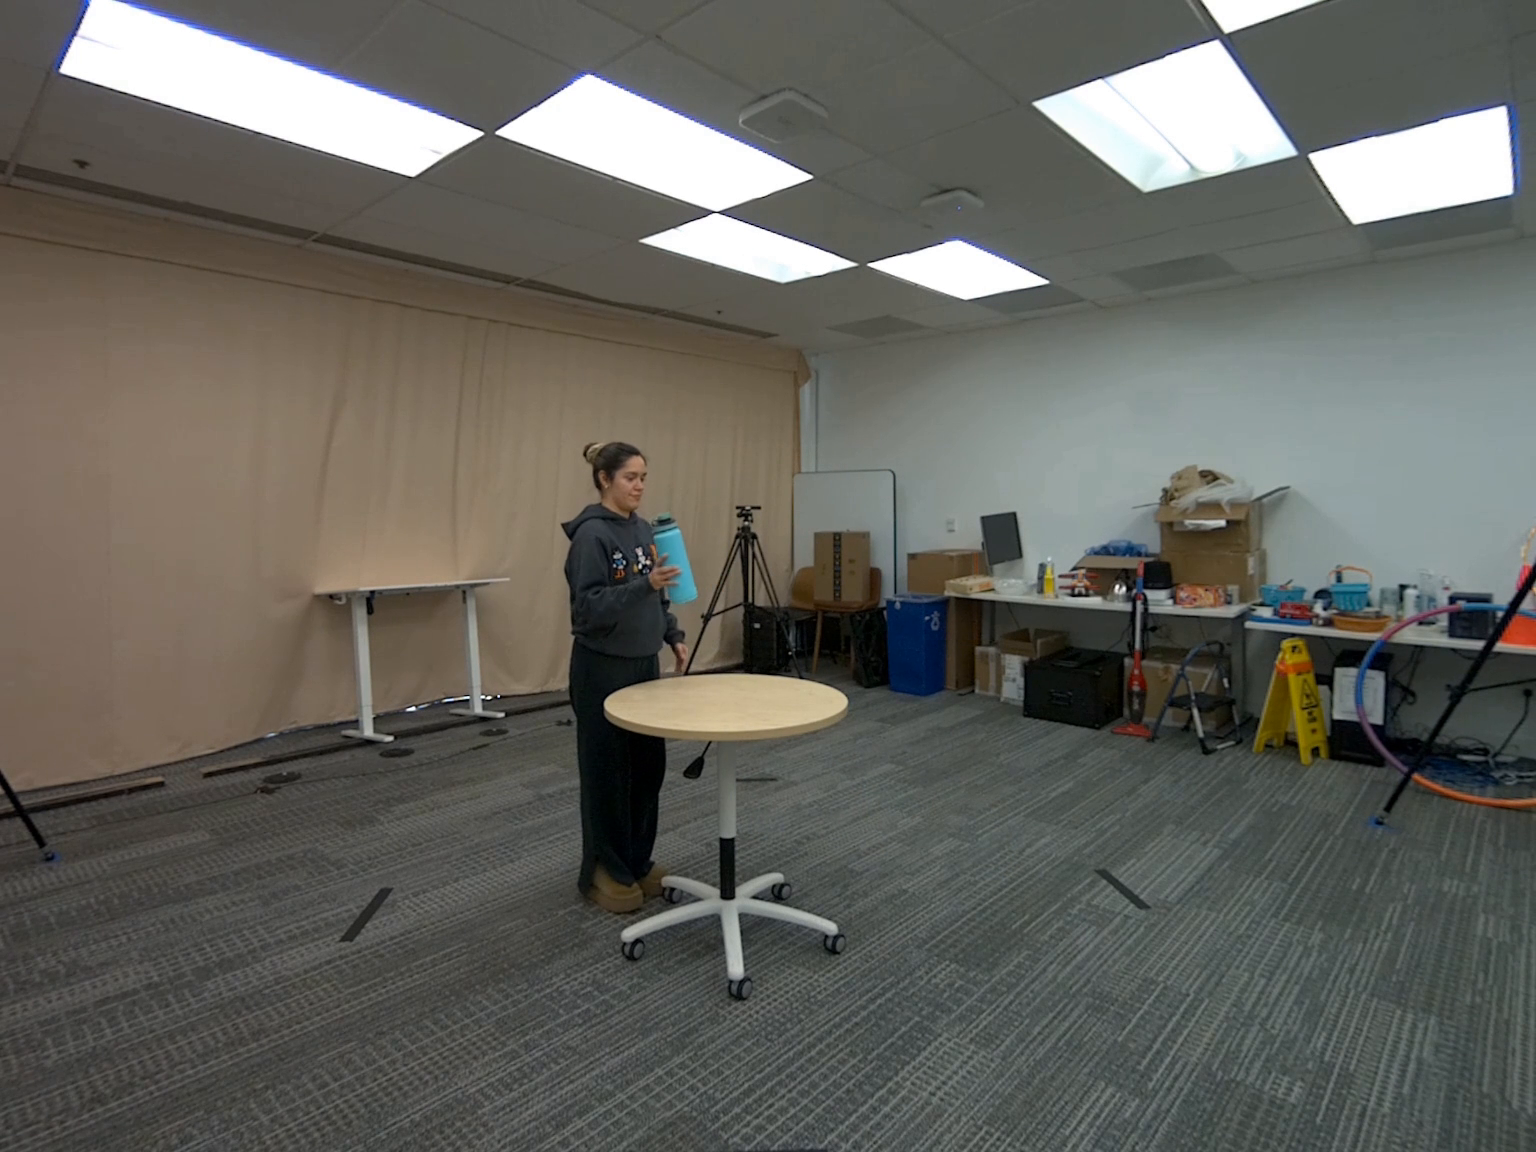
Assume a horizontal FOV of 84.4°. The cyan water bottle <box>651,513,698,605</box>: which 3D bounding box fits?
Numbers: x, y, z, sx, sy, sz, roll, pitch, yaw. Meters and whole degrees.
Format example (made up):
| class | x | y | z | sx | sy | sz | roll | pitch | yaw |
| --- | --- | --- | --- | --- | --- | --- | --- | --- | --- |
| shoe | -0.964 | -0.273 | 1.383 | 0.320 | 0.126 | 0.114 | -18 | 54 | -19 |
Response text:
| class | x | y | z | sx | sy | sz | roll | pitch | yaw |
| --- | --- | --- | --- | --- | --- | --- | --- | --- | --- |
| cyan water bottle | -0.291 | -0.037 | 2.657 | 0.092 | 0.282 | 0.093 | -15 | 6 | 0 |
